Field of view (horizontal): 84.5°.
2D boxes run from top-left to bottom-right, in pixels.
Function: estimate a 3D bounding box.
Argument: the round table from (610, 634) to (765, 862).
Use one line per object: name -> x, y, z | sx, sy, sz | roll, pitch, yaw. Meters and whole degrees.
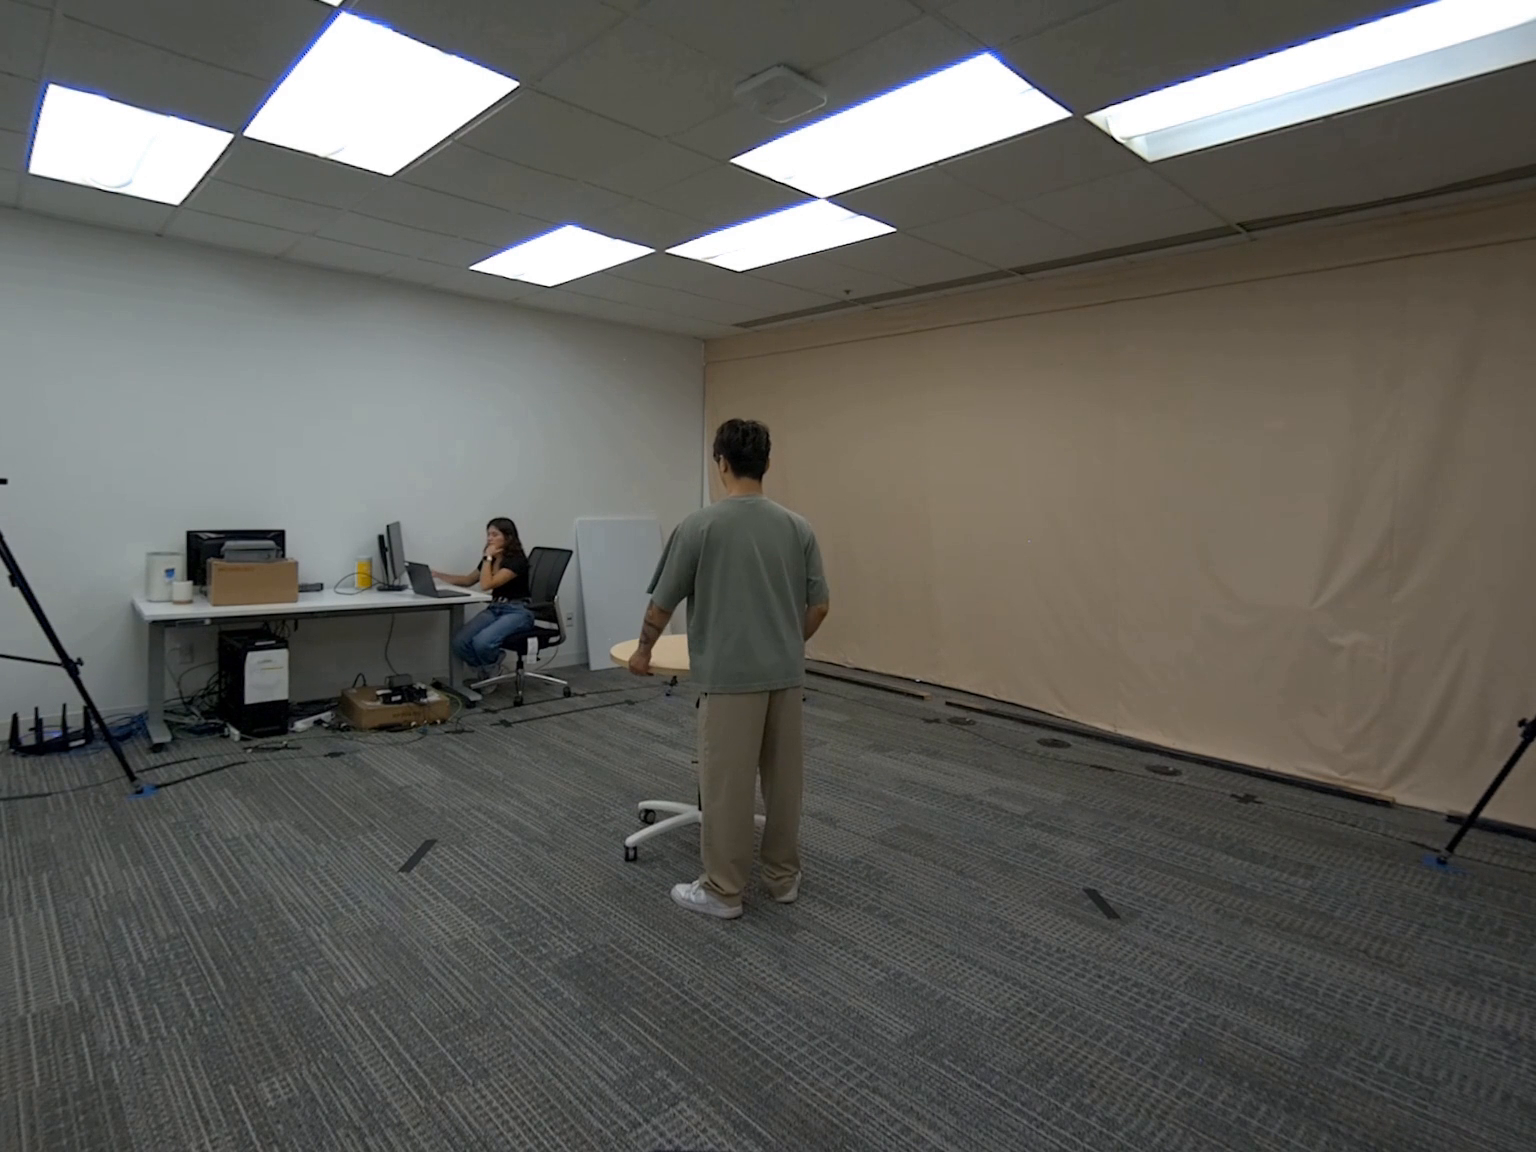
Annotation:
round table -> -0.247, 0.686, 3.388 | 0.784, 0.784, 0.788 | 2, 4, -1
